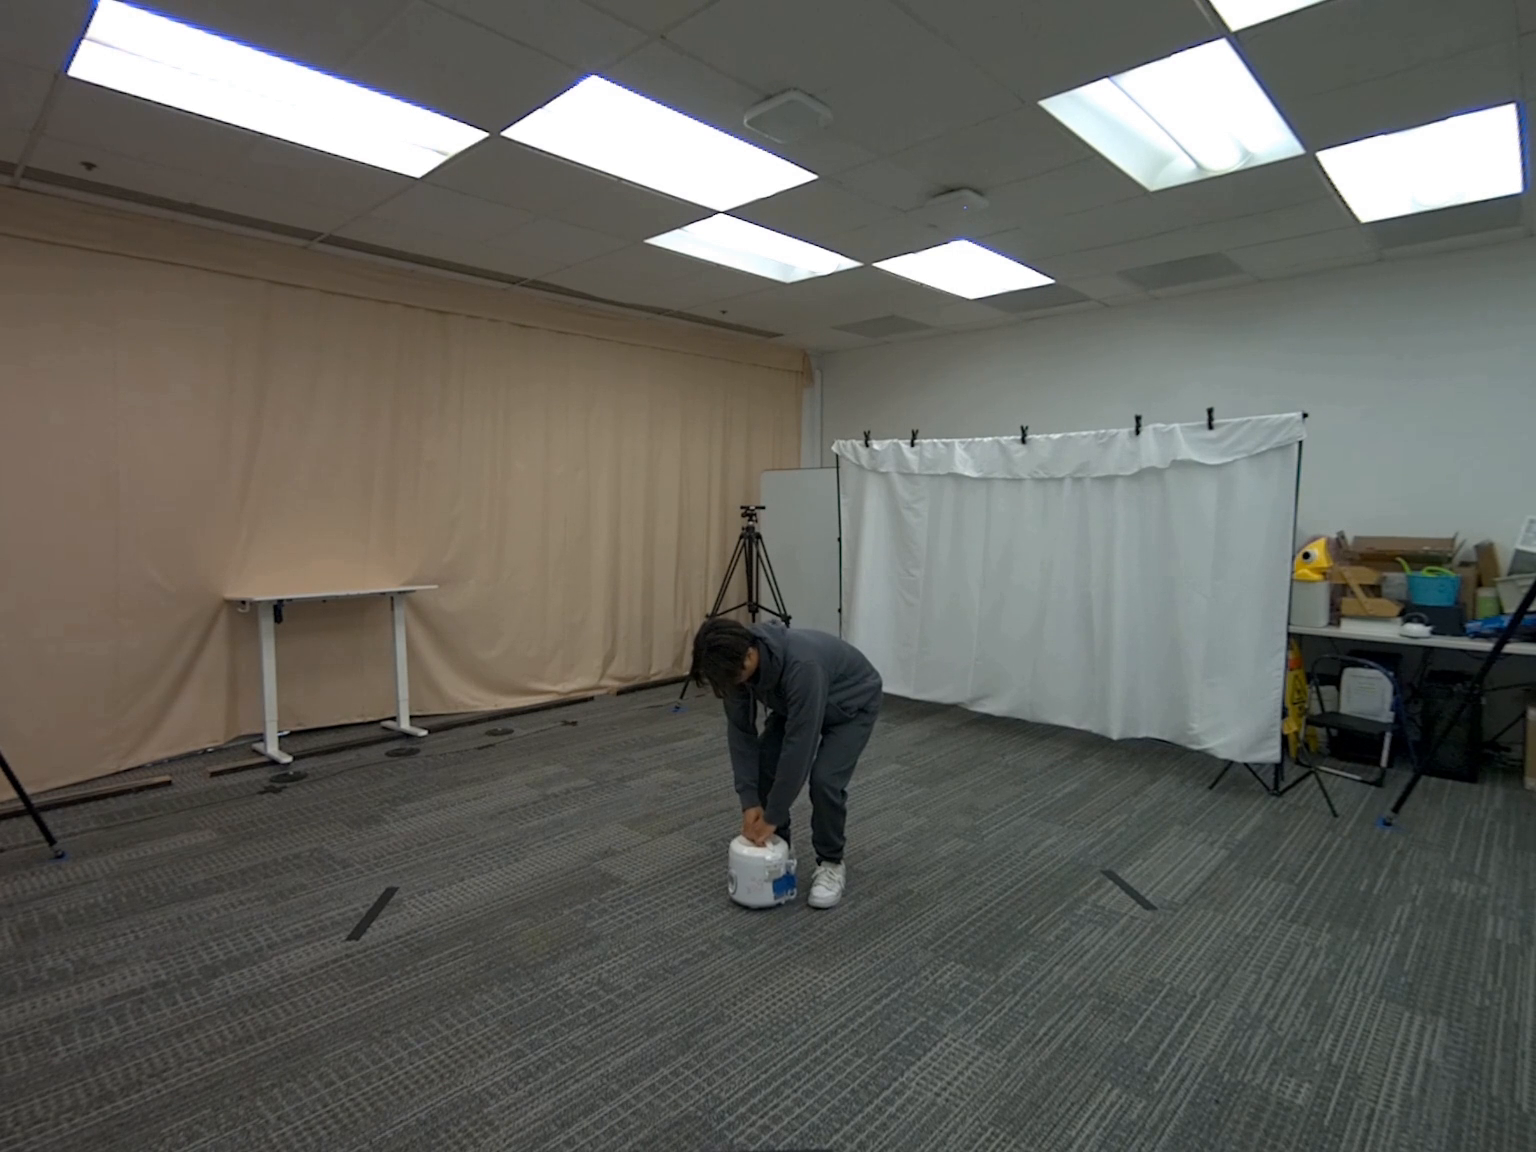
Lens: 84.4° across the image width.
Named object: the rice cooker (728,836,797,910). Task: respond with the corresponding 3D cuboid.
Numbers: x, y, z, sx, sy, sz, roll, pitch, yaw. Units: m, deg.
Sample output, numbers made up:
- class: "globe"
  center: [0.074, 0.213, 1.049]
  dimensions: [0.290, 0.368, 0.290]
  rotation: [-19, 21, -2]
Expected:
- class: "rice cooker"
  center: [-0.029, 1.014, 2.955]
  dimensions: [0.212, 0.232, 0.227]
  rotation: [0, 3, -28]
